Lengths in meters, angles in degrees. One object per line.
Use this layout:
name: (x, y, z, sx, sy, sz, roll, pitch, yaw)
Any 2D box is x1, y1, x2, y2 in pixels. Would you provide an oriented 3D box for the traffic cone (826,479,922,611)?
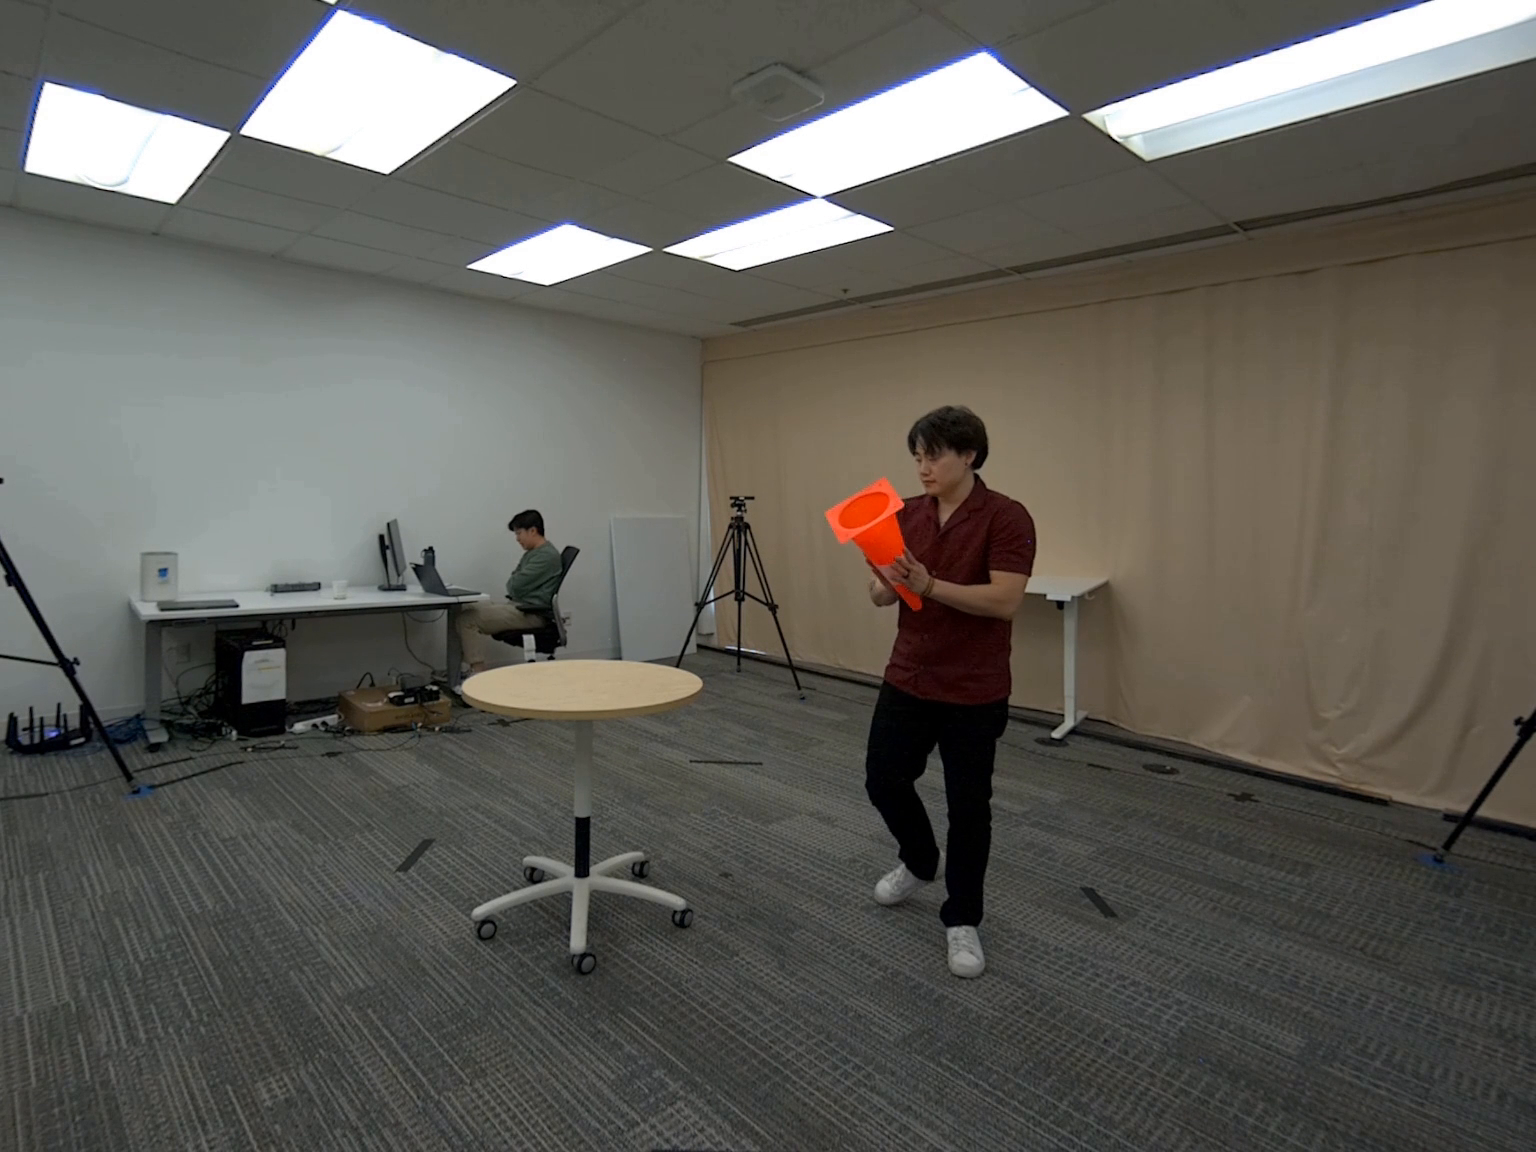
traffic cone: (0.340, -0.044, 2.401, 0.204, 0.373, 0.210, -30, 30, 9)
